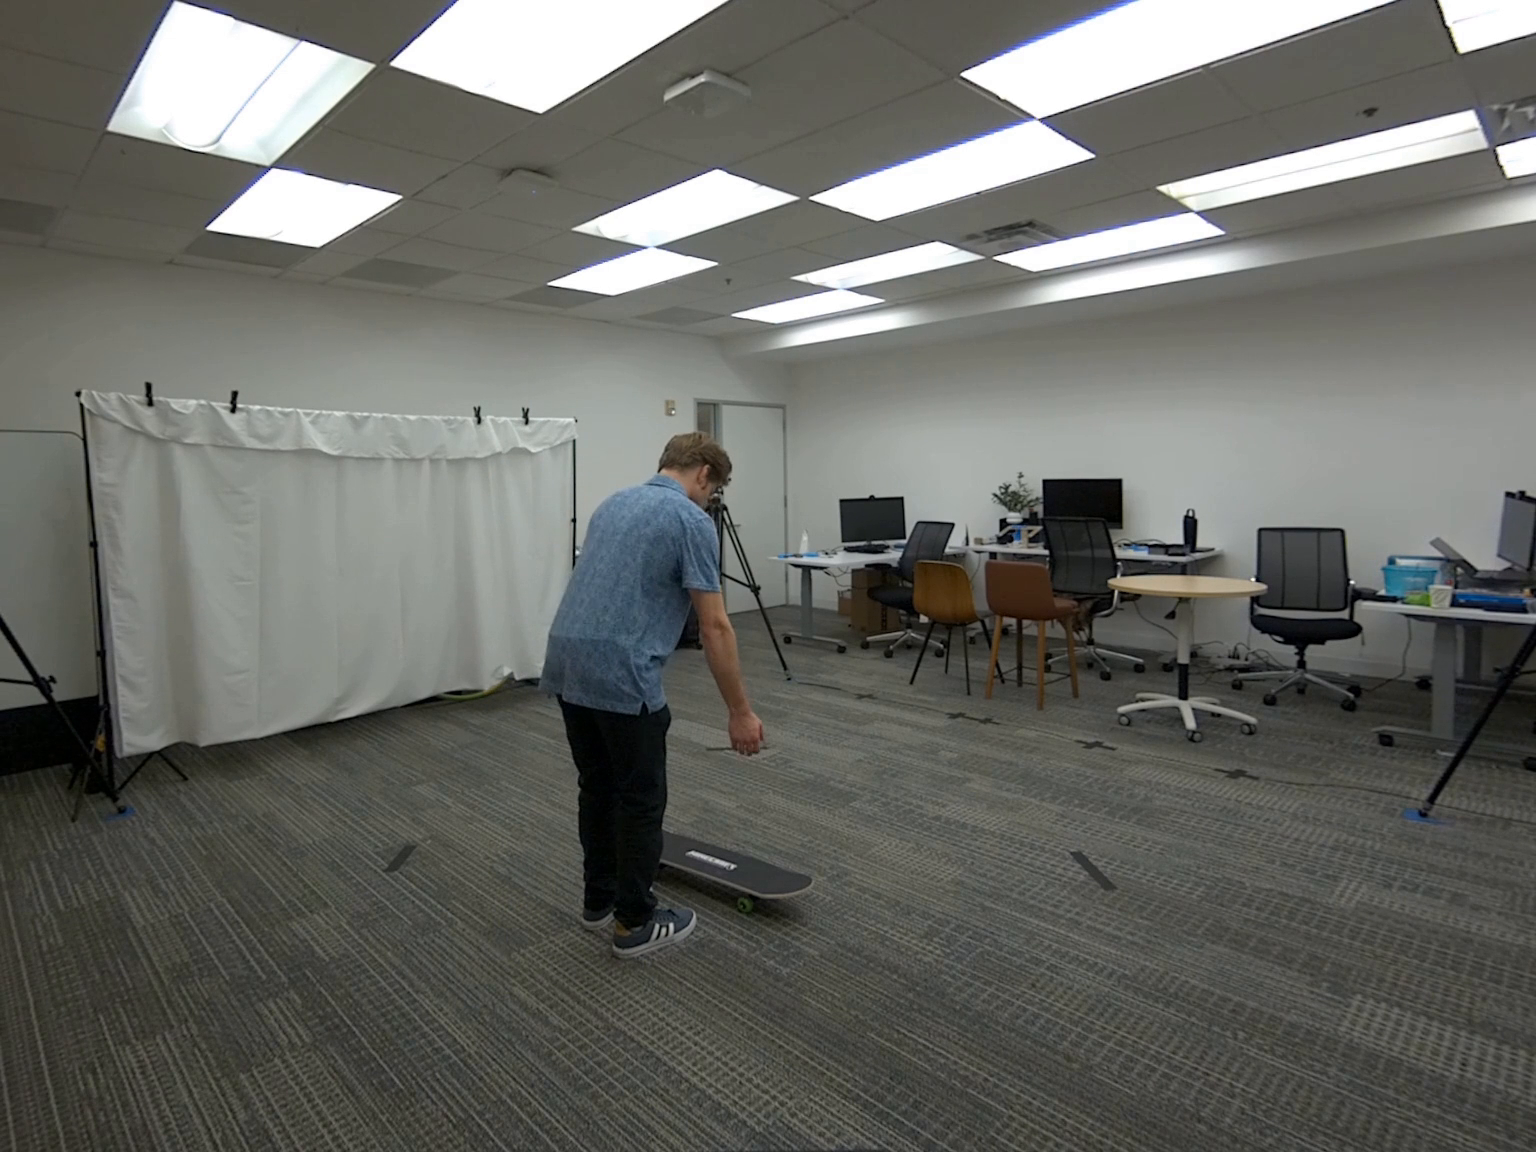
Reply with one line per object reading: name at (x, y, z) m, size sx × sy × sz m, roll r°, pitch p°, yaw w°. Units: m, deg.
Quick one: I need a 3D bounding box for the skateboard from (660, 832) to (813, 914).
skateboard at (-0.189, 1.010, 2.931) m, size 0.808 × 0.110 × 0.189 m, roll 4°, pitch 8°, yaw 37°
